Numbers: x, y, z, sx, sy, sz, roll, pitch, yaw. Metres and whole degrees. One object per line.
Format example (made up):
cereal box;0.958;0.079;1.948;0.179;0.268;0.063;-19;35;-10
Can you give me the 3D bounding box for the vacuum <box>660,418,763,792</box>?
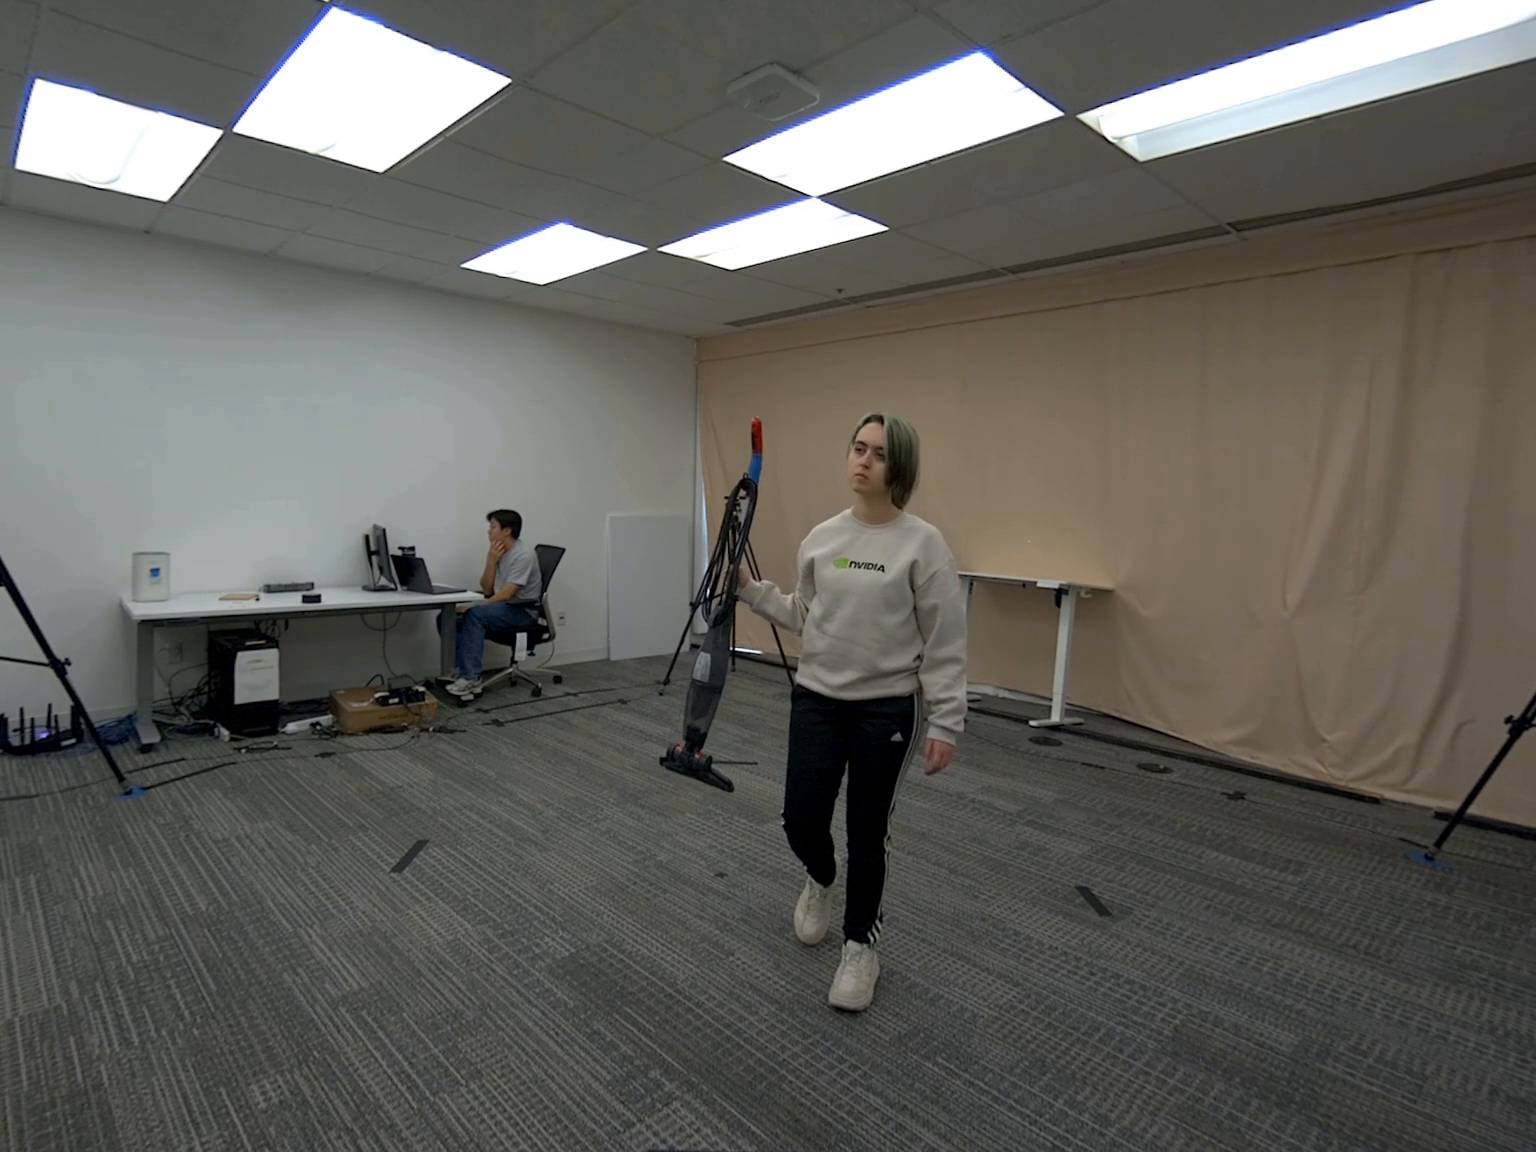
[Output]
vacuum;-0.139;0.062;2.496;0.257;1.047;0.142;10;4;18
